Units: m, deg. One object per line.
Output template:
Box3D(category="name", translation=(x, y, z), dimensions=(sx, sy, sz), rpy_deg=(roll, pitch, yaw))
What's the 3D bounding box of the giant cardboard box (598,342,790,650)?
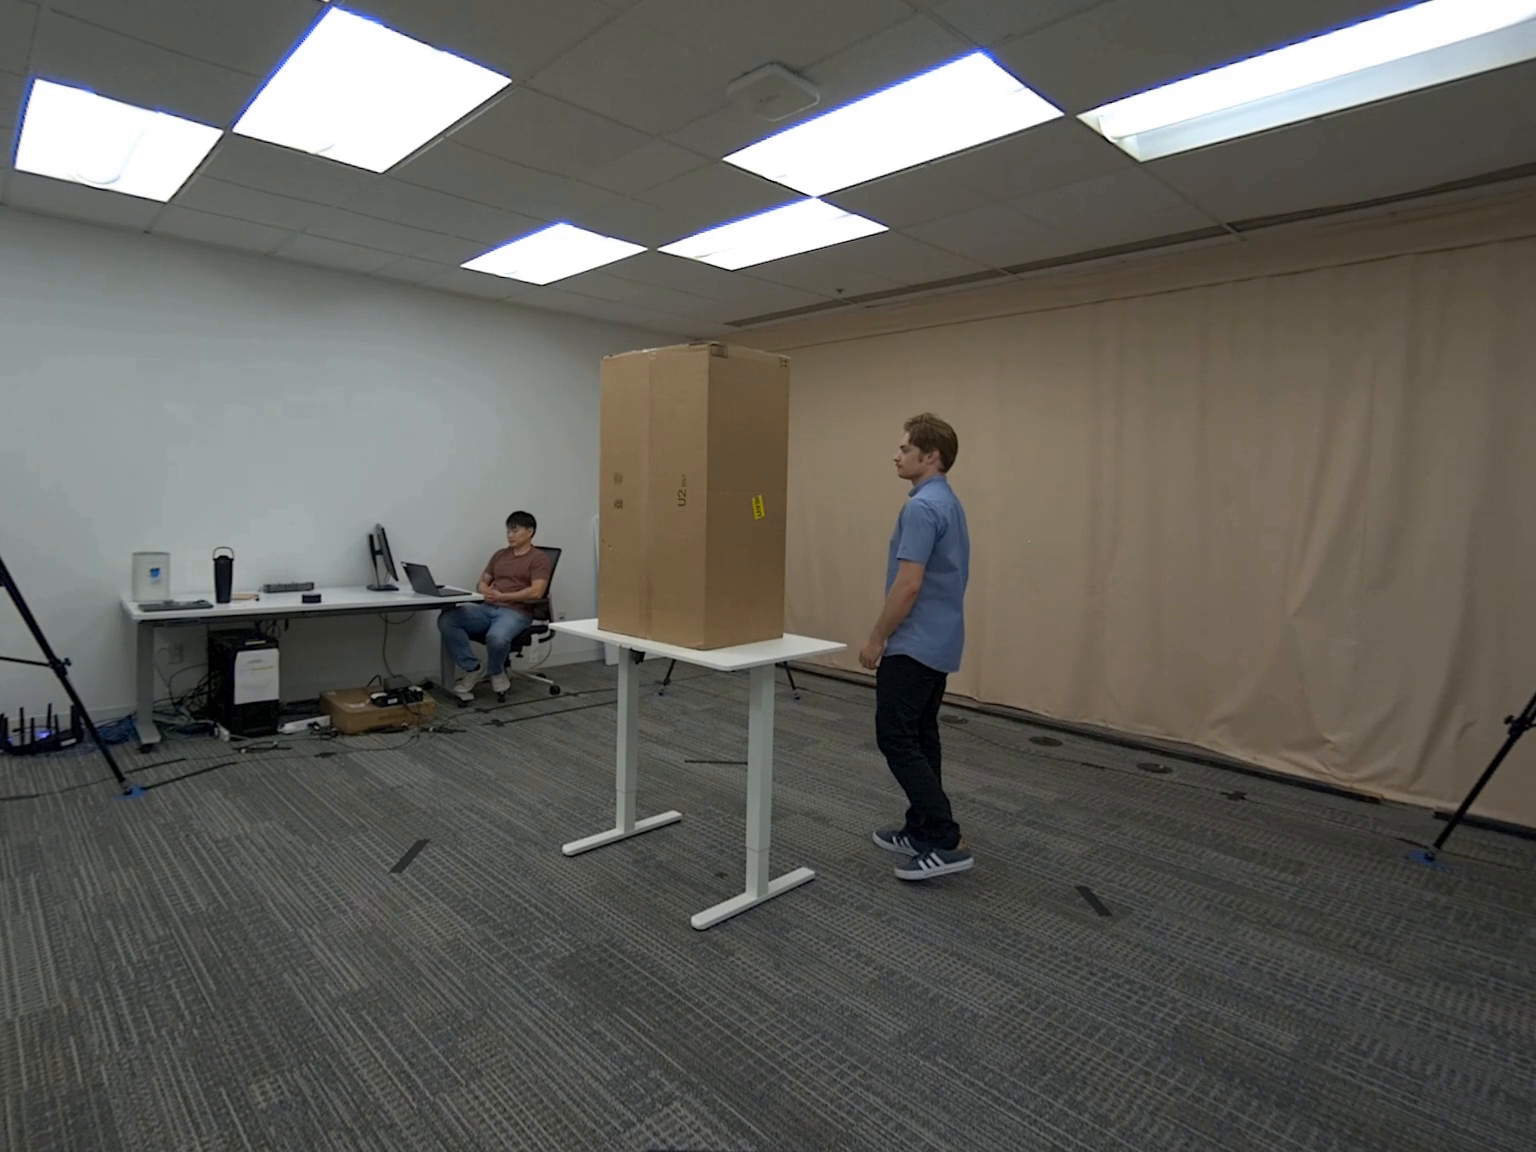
Box3D(category="giant cardboard box", translation=(-0.284, -0.290, 3.106), dimensions=(0.592, 1.023, 0.416), rpy_deg=(5, 5, 43))
